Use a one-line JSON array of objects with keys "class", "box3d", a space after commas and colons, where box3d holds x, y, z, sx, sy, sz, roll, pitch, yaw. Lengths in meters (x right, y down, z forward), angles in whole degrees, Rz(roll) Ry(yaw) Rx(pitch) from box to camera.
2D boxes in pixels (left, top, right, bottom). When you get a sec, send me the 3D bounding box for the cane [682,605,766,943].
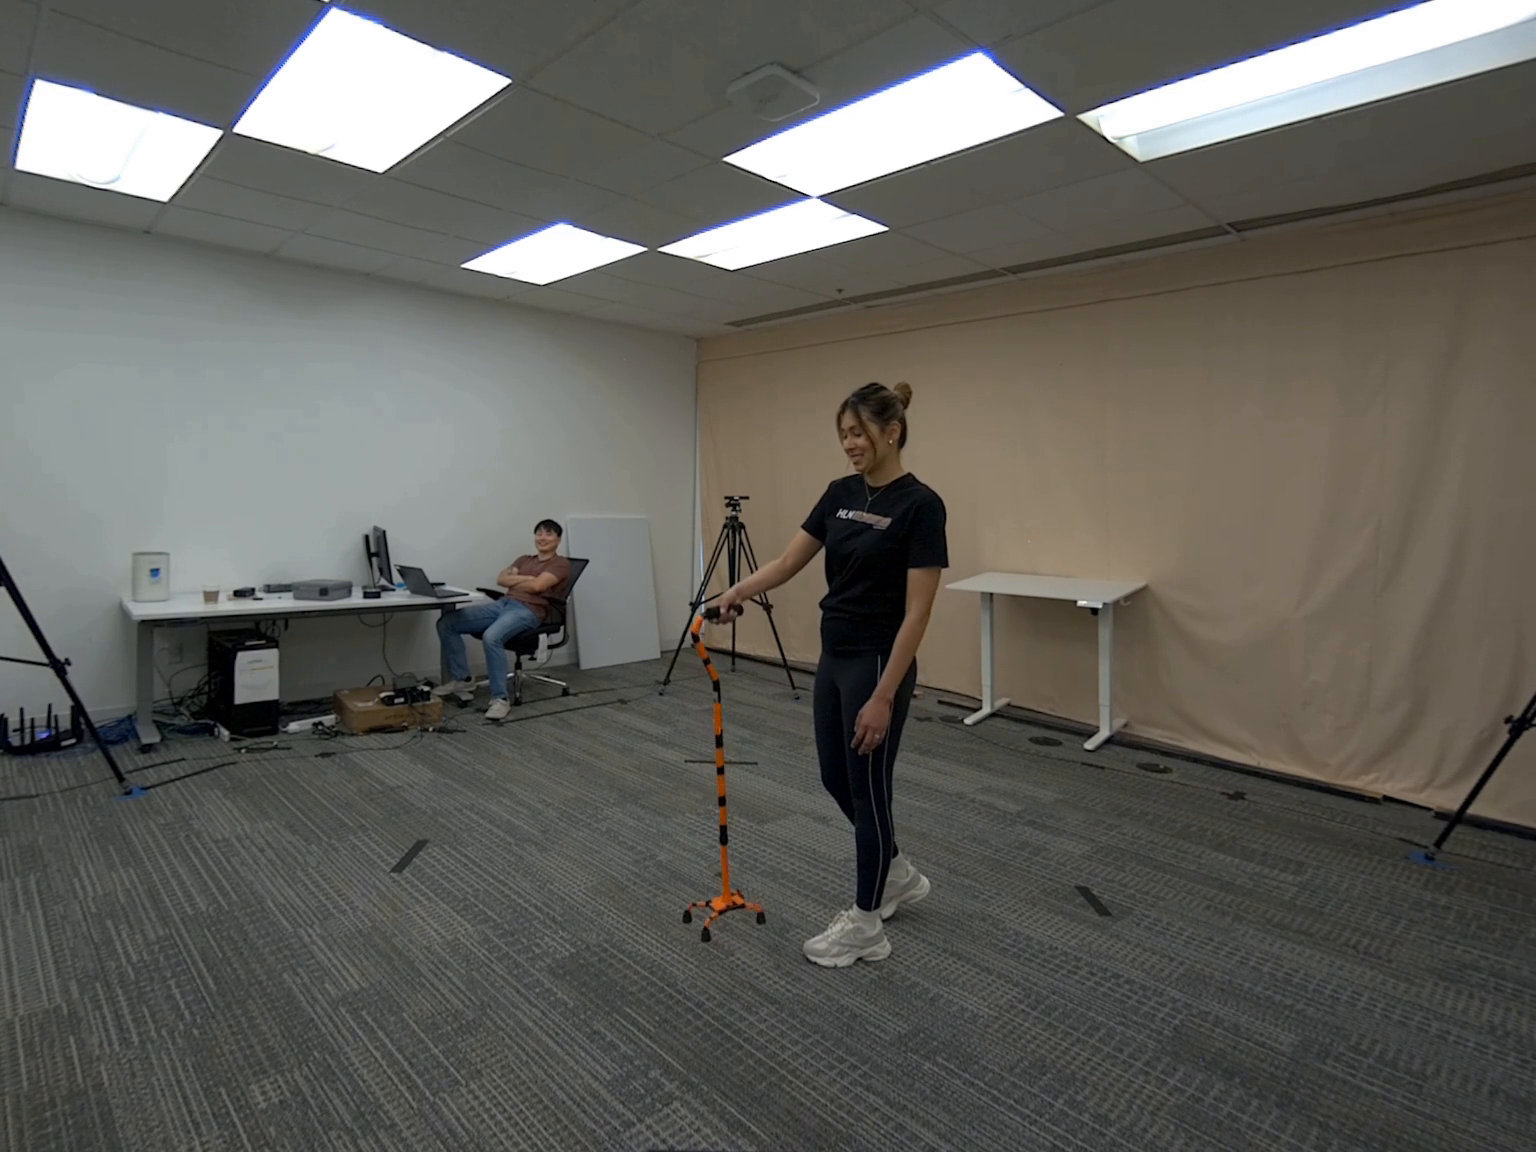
[{"class": "cane", "box3d": [-0.150, 0.547, 2.397, 0.202, 0.906, 0.155, -4, 2, -30]}]
